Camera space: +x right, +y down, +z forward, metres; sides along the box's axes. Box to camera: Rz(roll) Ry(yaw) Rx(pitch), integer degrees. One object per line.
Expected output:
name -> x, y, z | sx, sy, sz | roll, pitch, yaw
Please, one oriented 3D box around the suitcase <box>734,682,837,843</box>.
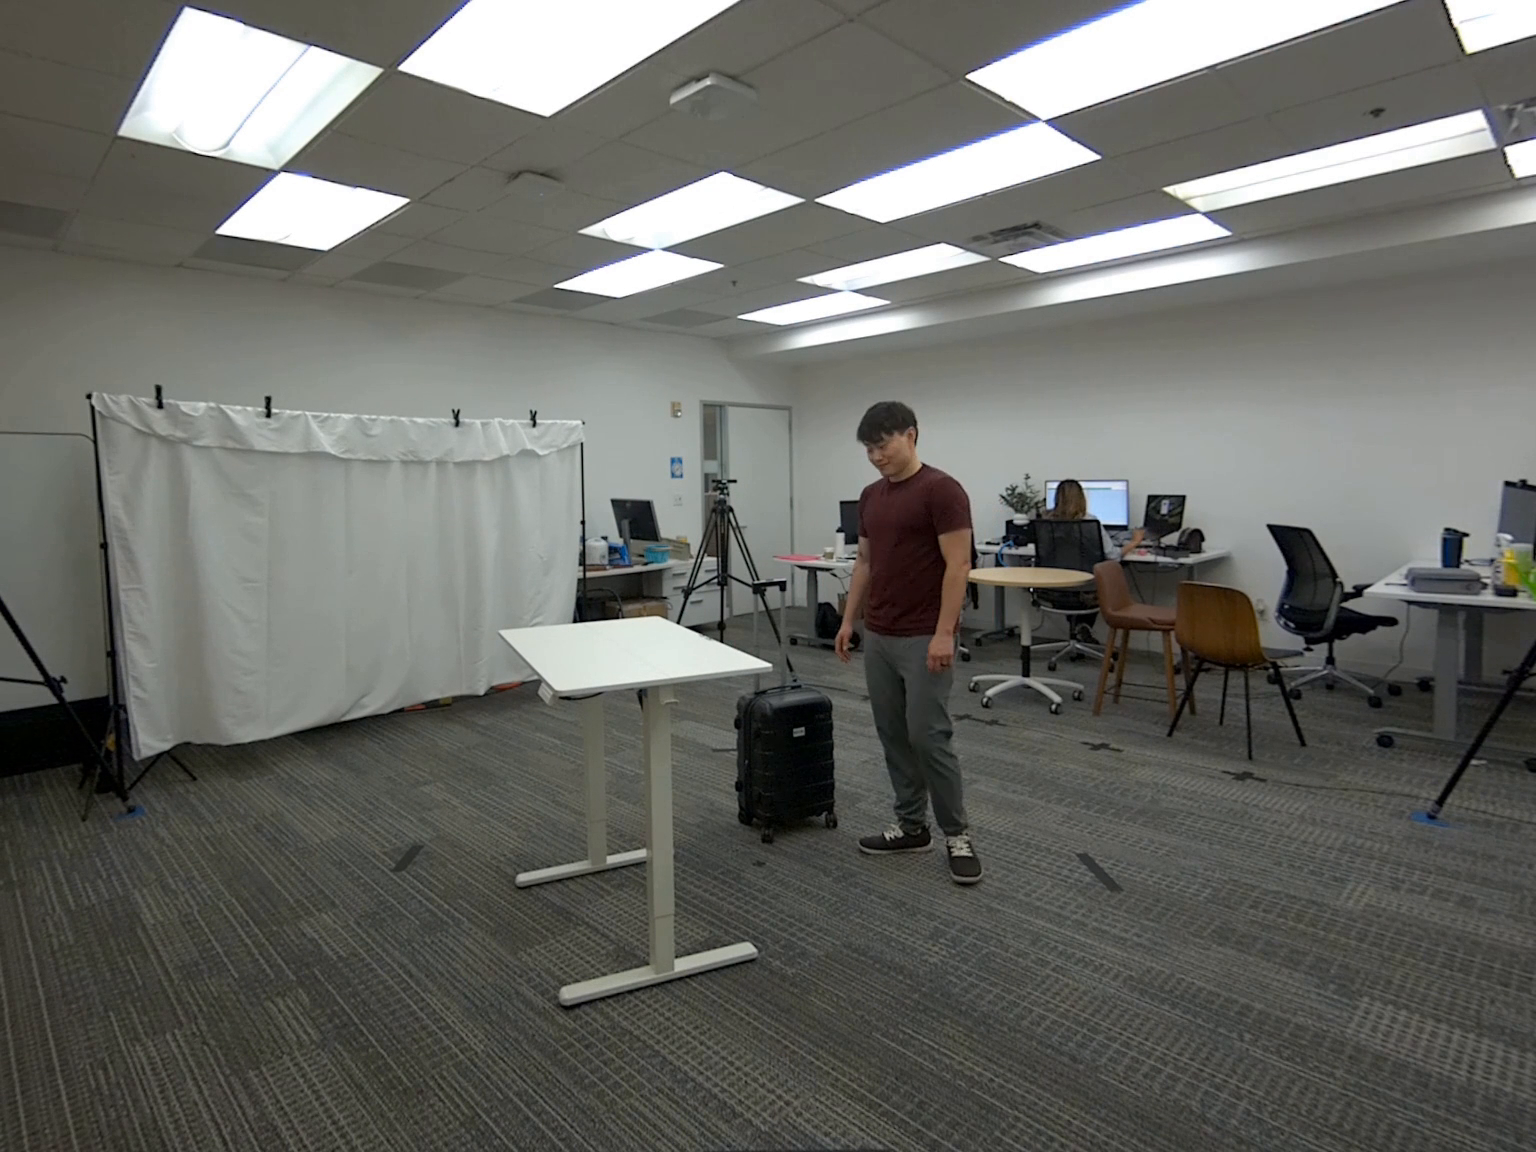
suitcase -> 0.071, 0.527, 3.451 | 0.376, 0.974, 0.263 | -3, 5, -24
